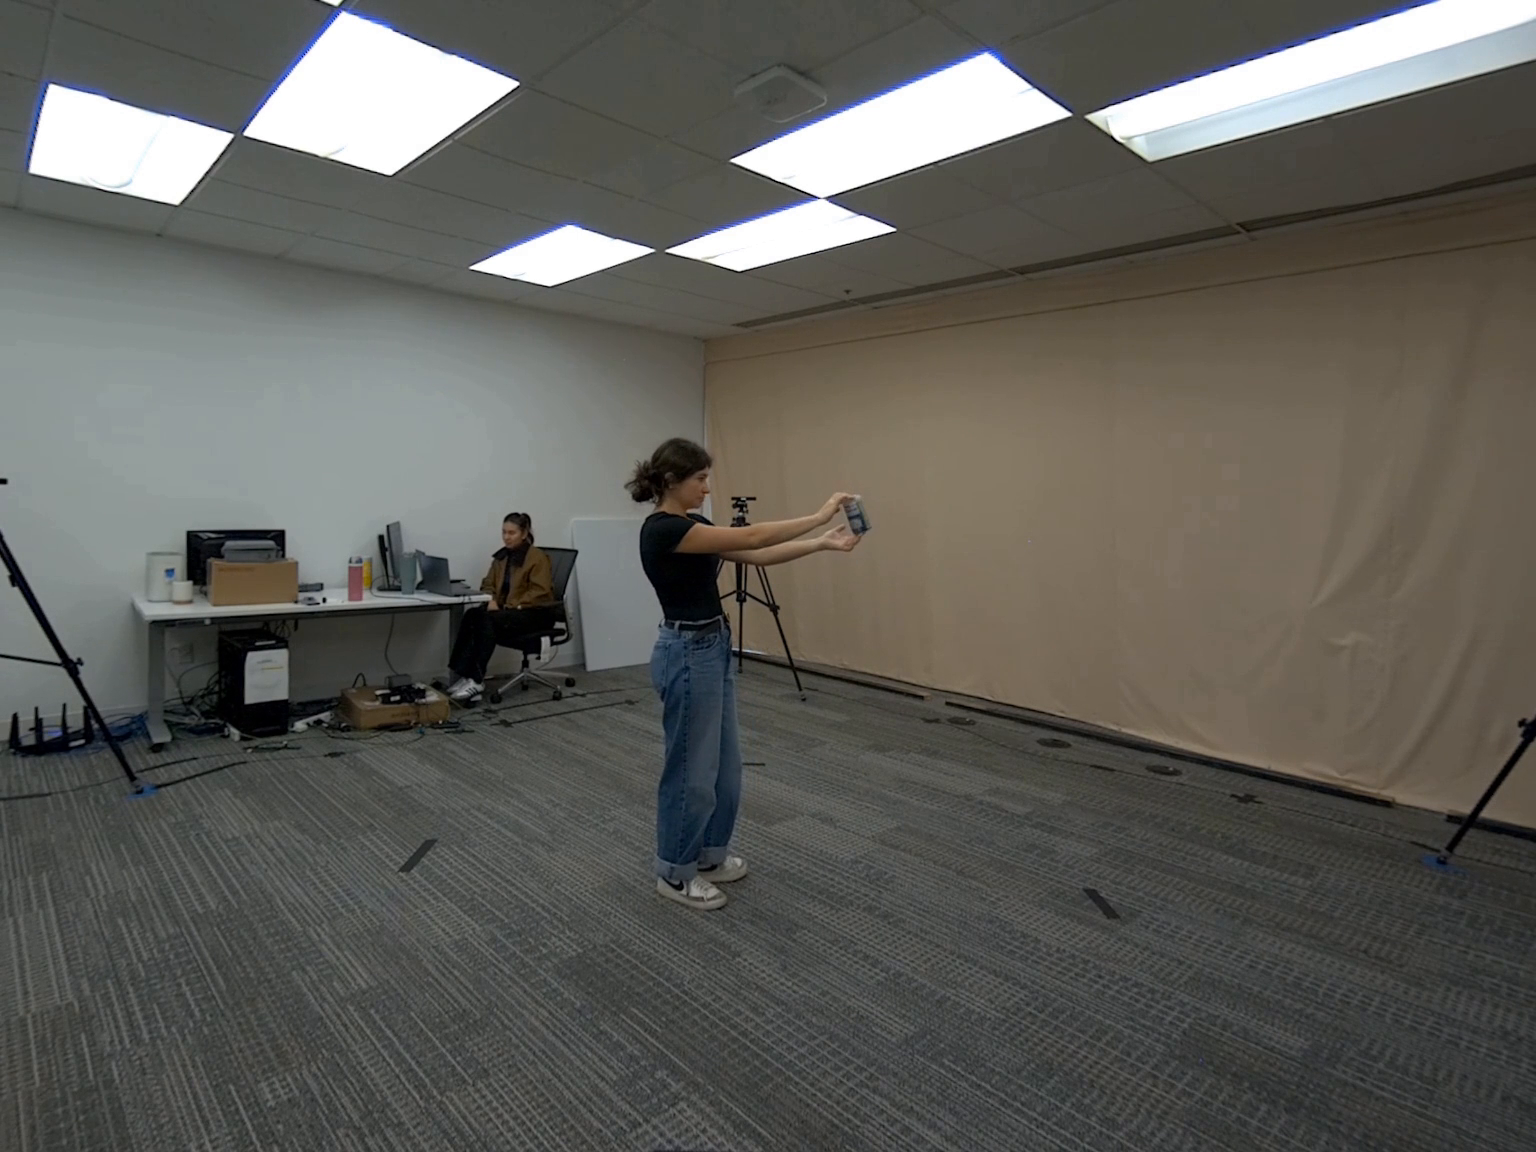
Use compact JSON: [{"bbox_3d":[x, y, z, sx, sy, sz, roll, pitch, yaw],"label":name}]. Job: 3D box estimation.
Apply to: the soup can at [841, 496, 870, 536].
[{"bbox_3d":[0.289,-0.210,2.803,0.067,0.121,0.067,-15,3,0],"label":"soup can"}]
